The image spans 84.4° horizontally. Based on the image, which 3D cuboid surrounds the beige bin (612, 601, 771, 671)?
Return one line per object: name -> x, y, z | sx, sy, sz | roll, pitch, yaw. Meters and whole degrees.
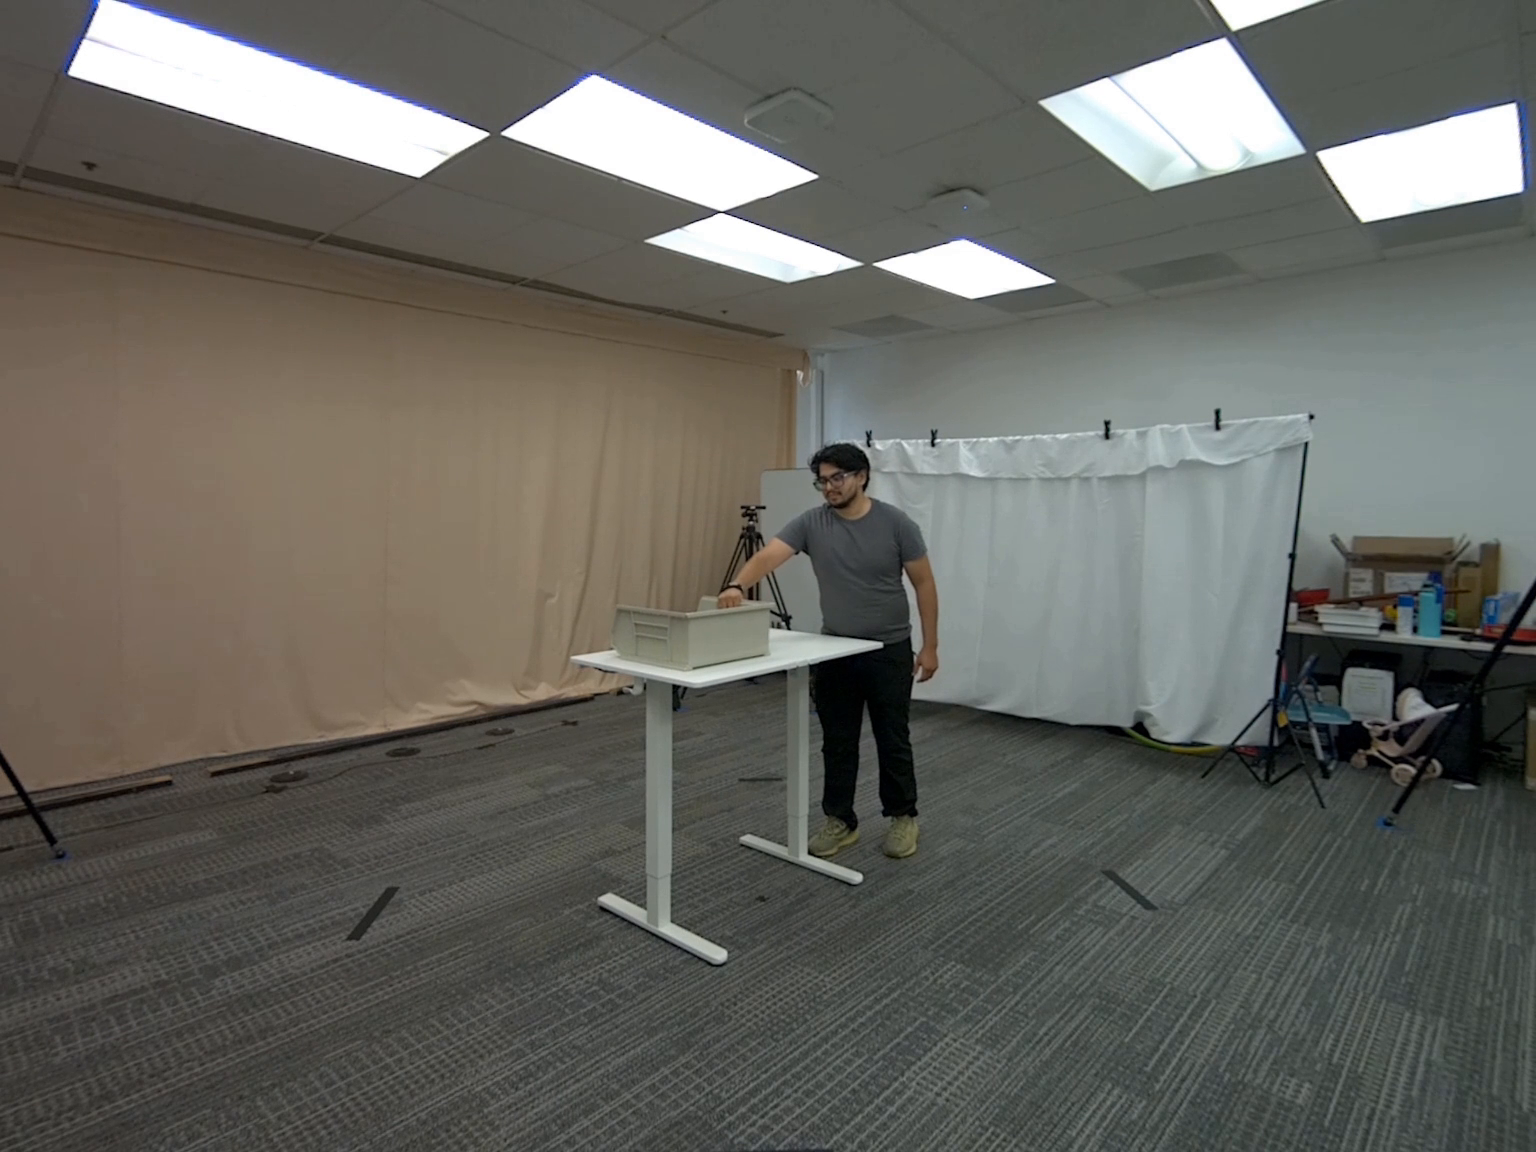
beige bin -> -0.253, 0.184, 2.839 | 0.390, 0.188, 0.409 | 6, 7, 42
